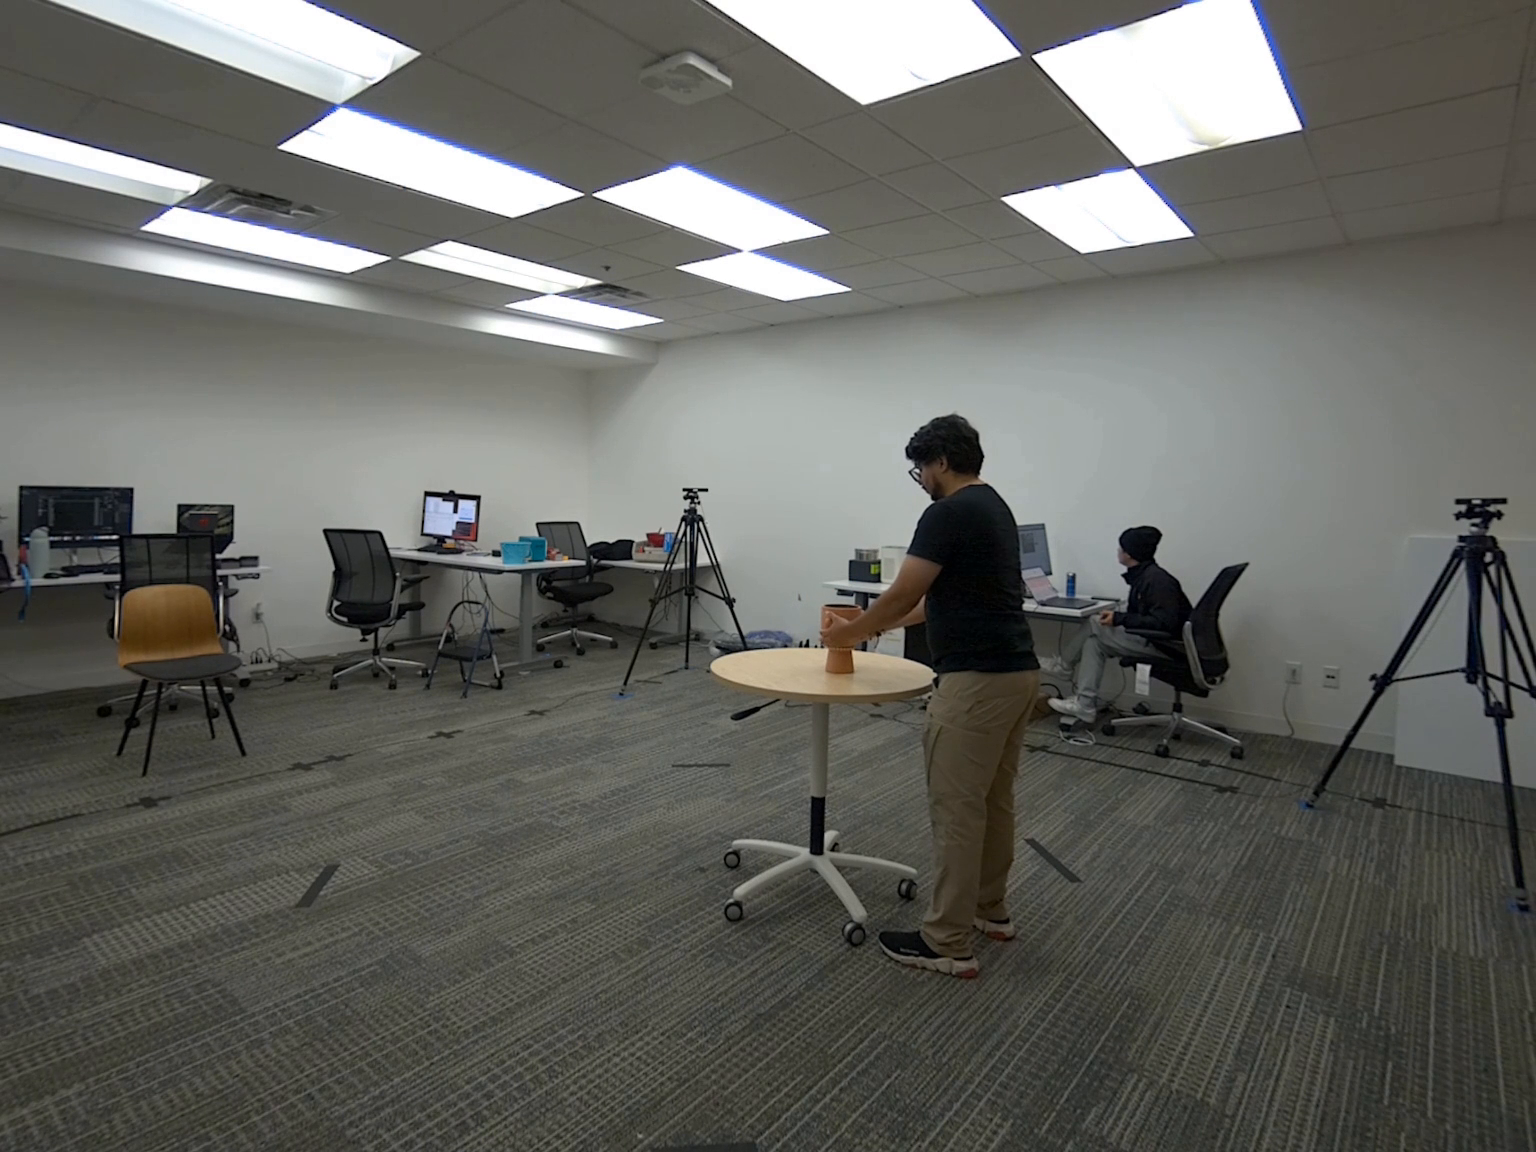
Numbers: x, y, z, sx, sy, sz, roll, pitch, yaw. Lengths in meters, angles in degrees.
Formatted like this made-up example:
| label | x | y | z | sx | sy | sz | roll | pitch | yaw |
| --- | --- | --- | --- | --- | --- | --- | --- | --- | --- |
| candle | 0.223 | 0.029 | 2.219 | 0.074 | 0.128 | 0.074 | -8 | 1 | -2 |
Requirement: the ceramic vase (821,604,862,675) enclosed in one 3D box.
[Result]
| label | x | y | z | sx | sy | sz | roll | pitch | yaw |
| --- | --- | --- | --- | --- | --- | --- | --- | --- | --- |
| ceramic vase | 0.242 | 0.211 | 2.875 | 0.156 | 0.219 | 0.138 | 0 | 6 | -20 |
